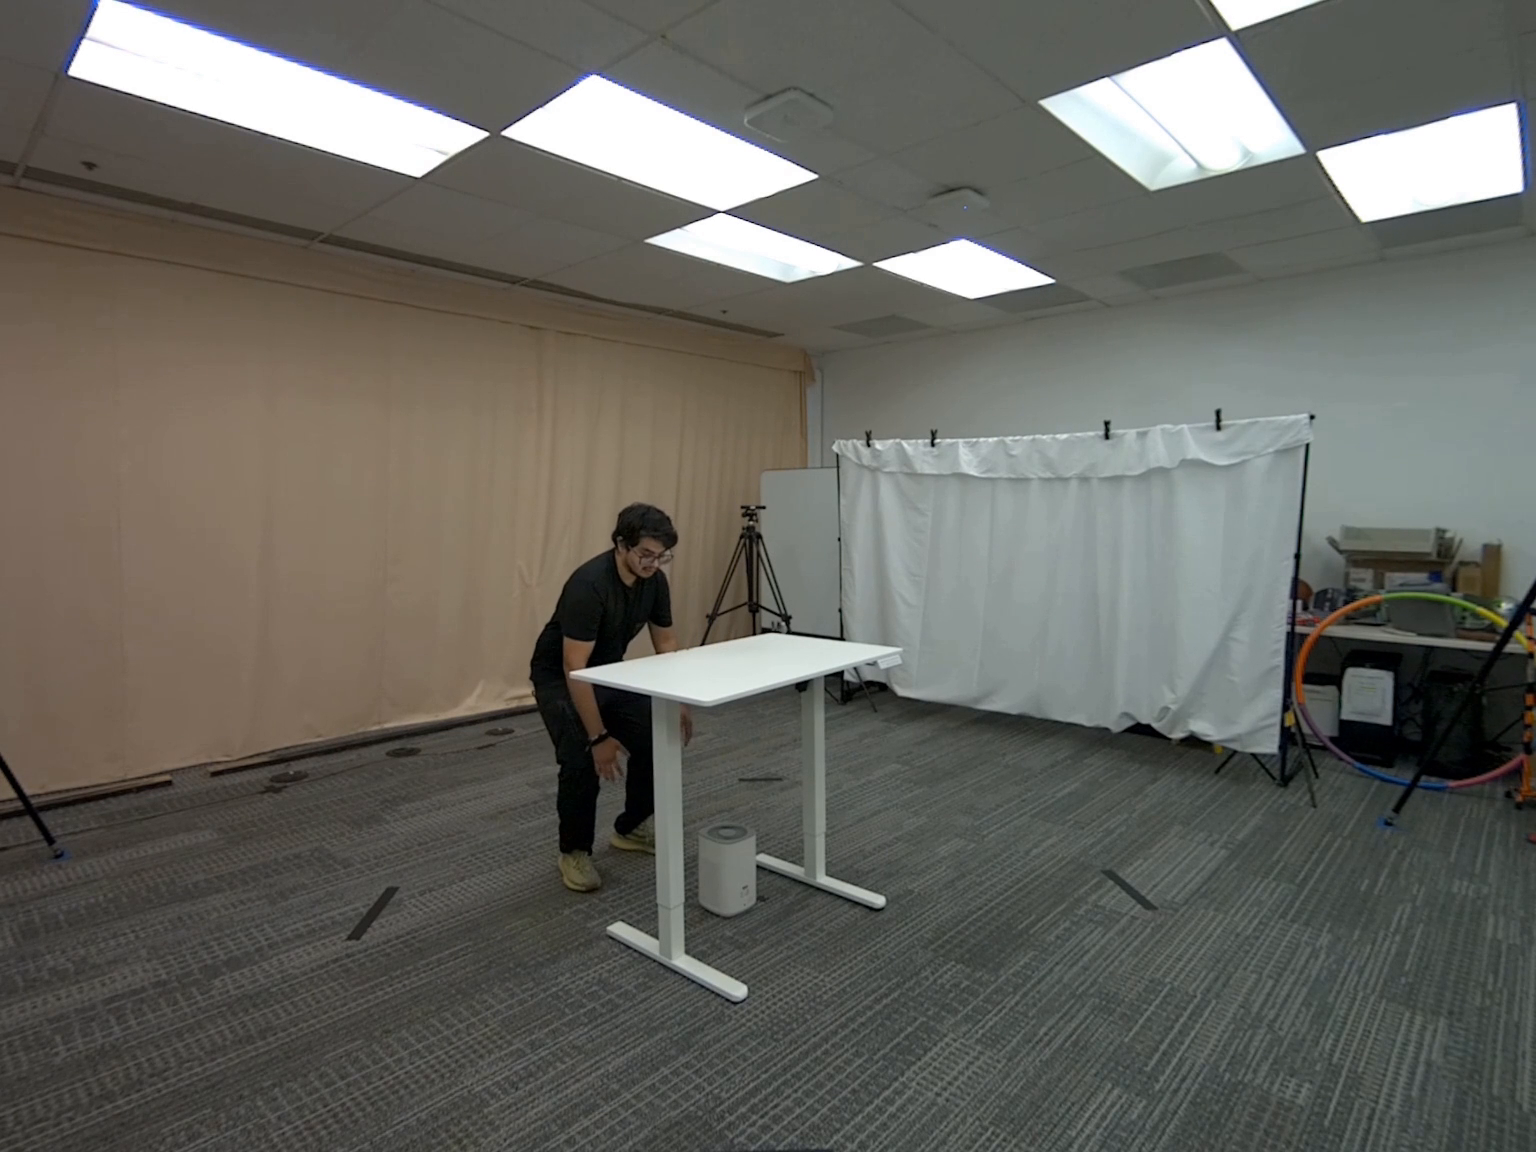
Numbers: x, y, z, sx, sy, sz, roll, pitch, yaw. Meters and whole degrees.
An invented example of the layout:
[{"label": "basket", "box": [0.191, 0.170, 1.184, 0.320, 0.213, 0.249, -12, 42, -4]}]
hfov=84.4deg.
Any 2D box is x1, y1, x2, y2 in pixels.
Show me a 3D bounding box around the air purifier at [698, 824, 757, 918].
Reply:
[{"label": "air purifier", "box": [-0.137, 1.012, 2.919, 0.177, 0.265, 0.166, 4, 5, 42]}]
